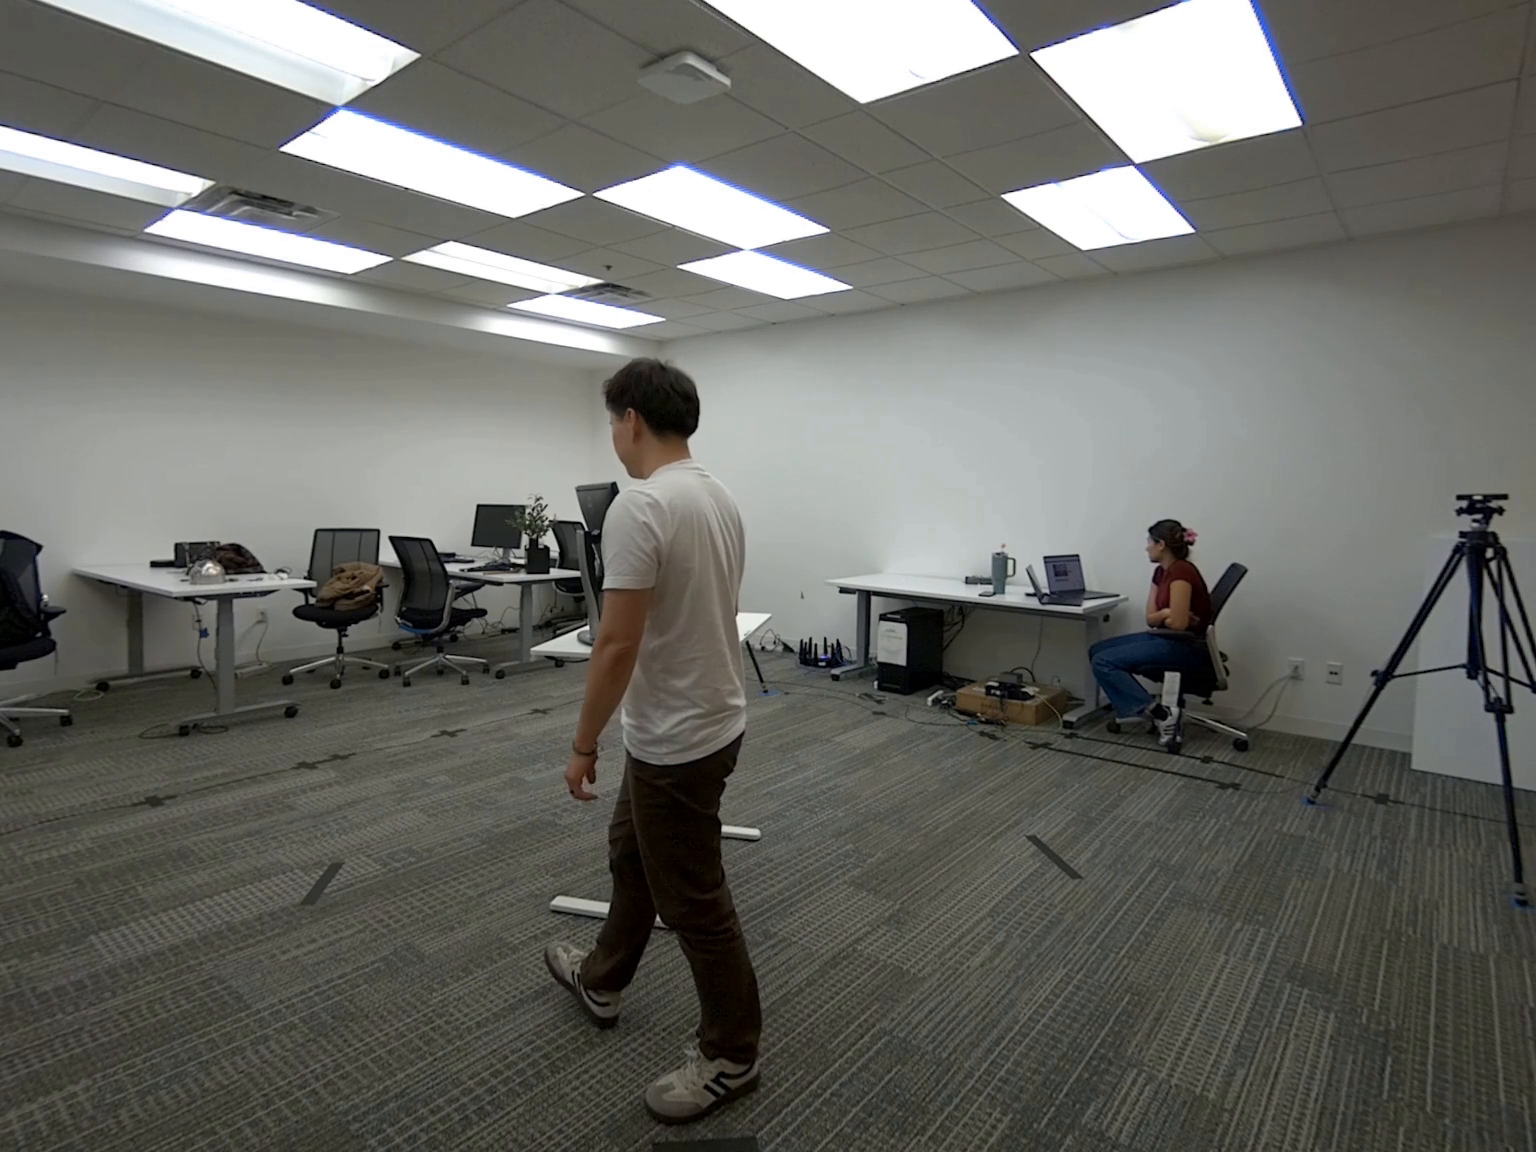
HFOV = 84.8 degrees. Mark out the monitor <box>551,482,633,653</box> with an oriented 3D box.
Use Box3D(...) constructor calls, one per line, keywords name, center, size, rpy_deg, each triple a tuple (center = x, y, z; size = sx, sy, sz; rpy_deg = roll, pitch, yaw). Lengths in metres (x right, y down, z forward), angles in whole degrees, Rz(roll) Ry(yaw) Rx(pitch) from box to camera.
Box3D(name="monitor", center=(-0.554, -0.045, 2.789), size=(0.183, 0.521, 0.554), rpy_deg=(-4, 5, -26))
